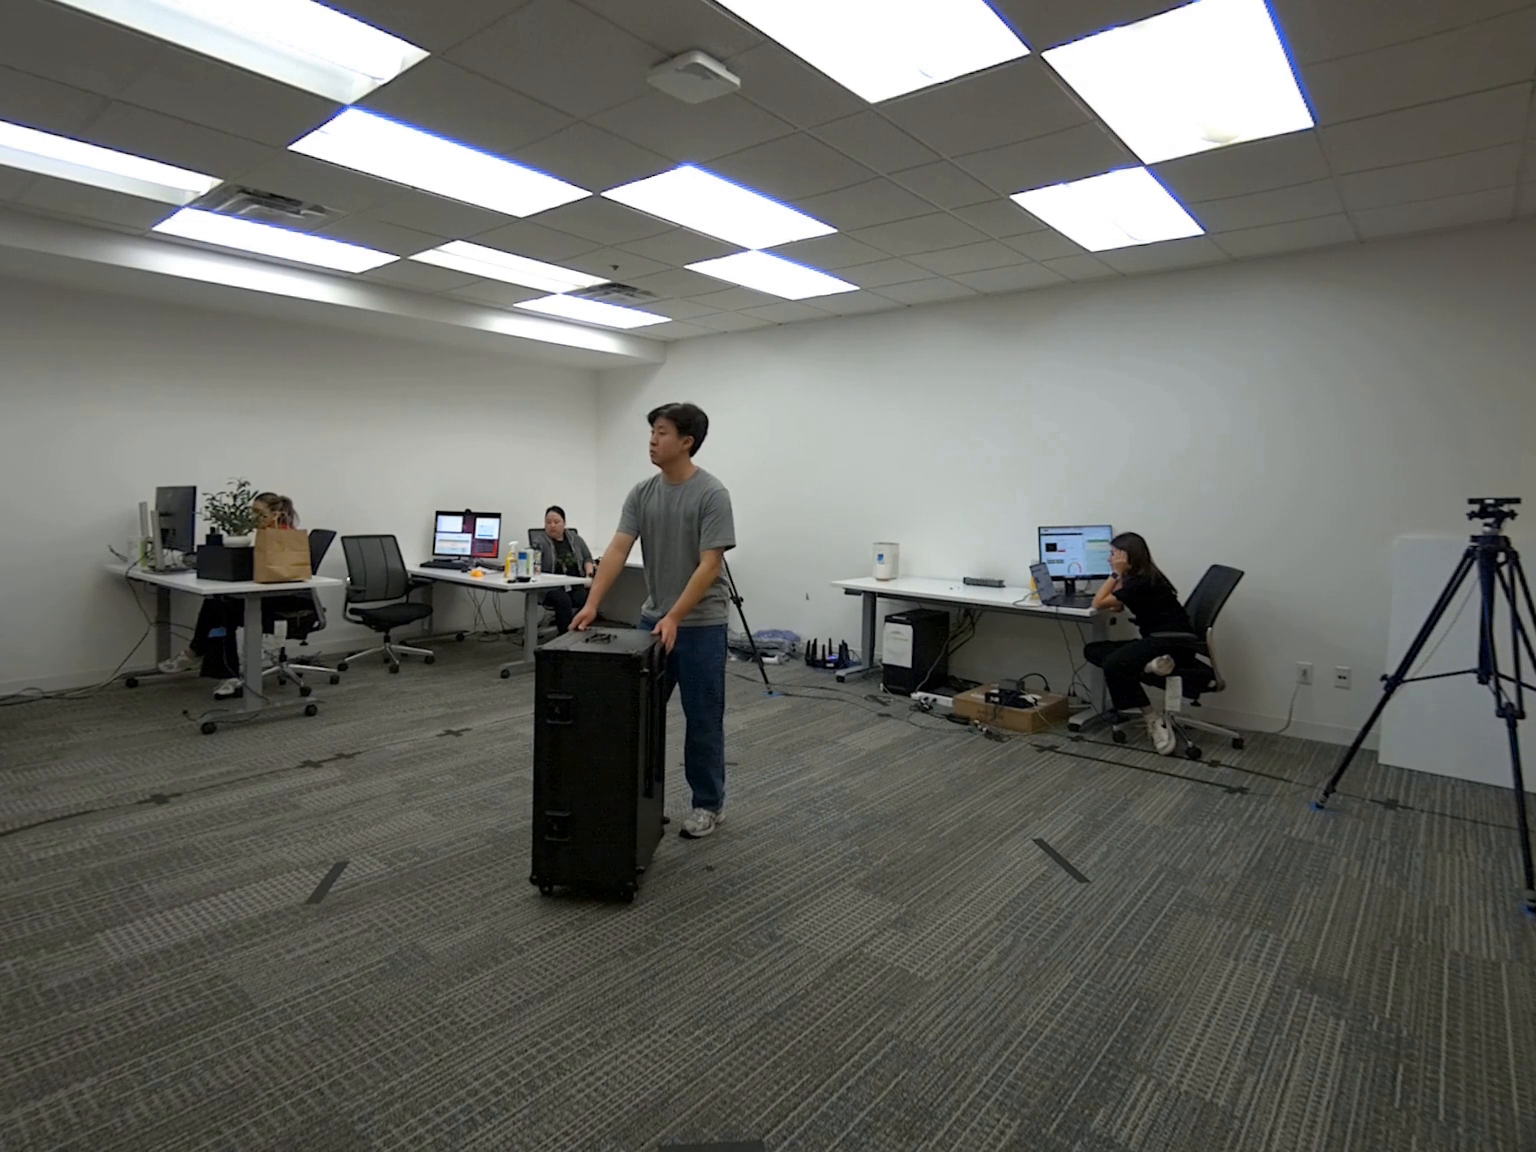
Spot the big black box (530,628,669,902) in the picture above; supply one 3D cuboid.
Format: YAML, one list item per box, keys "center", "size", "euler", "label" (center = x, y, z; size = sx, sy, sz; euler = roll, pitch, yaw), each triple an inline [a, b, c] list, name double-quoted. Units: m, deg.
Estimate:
- center: [-0.585, 0.649, 3.005]
  size: [0.399, 0.859, 0.518]
  euler: [2, 3, 6]
  label: "big black box"
